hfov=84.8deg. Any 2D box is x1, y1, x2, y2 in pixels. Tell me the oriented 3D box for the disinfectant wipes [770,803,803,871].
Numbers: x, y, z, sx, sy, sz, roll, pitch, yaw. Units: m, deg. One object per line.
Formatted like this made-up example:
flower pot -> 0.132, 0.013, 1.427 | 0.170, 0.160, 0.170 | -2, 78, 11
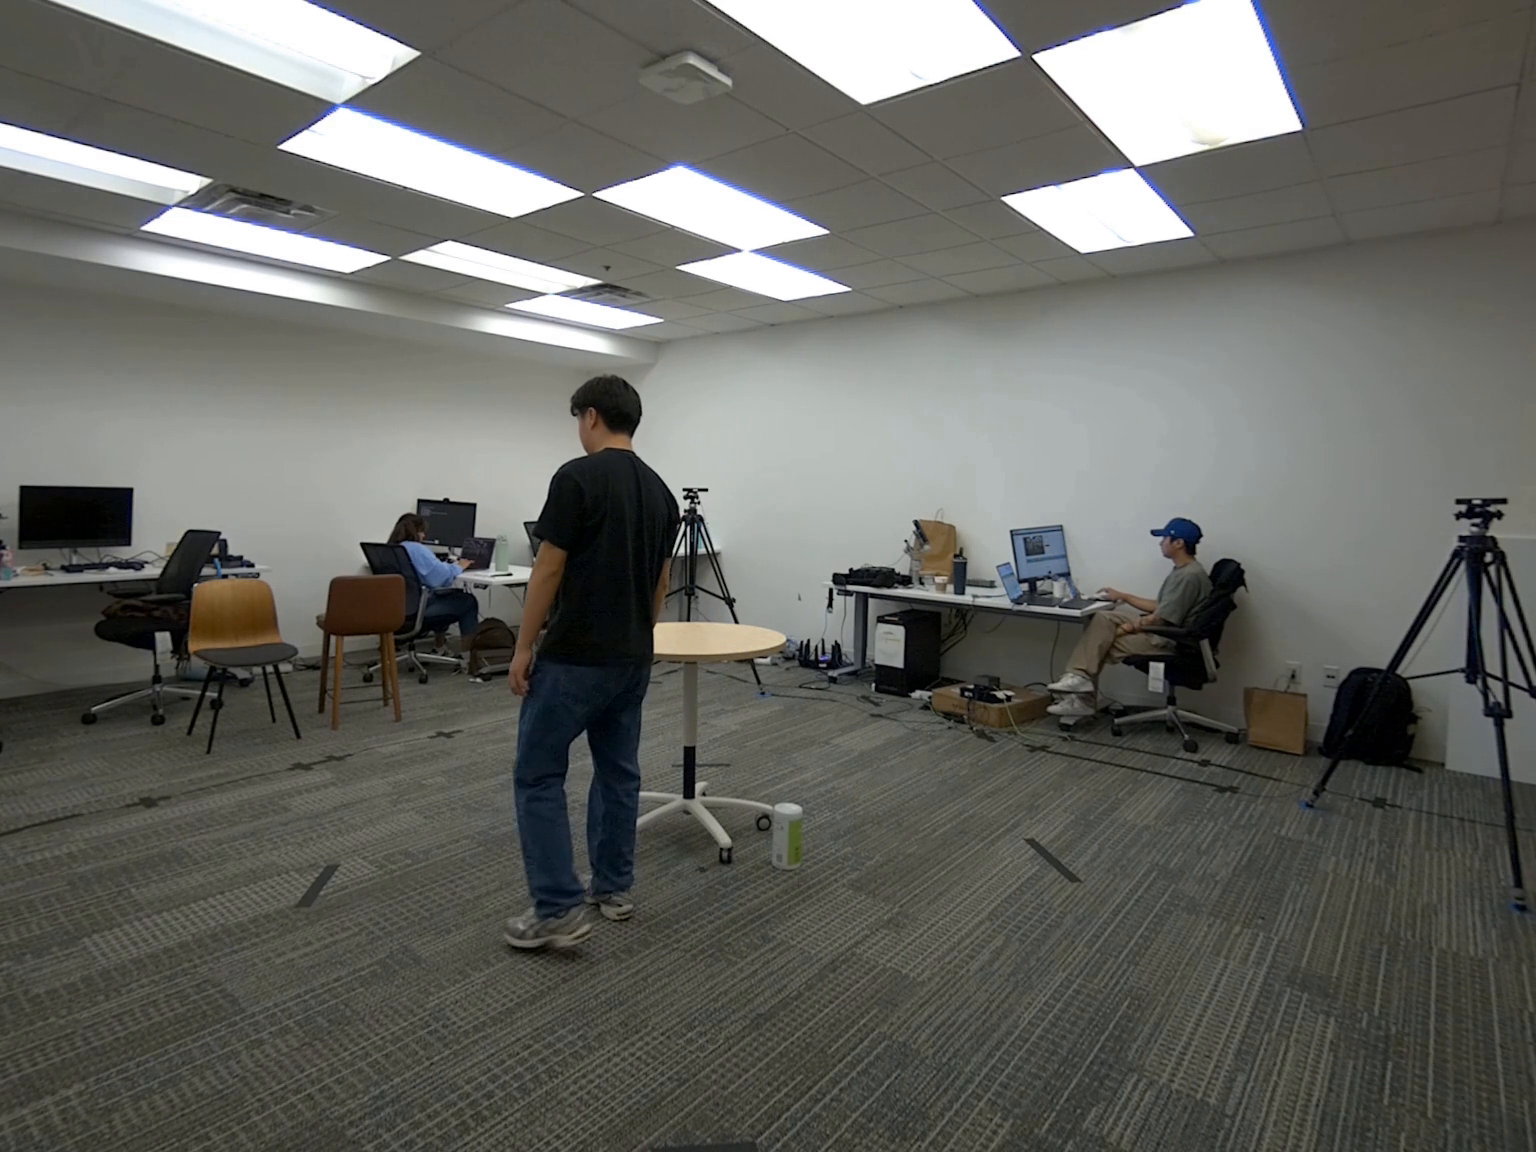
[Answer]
disinfectant wipes -> 0.069, 0.968, 3.159 | 0.118, 0.217, 0.118 | 2, 2, -2
